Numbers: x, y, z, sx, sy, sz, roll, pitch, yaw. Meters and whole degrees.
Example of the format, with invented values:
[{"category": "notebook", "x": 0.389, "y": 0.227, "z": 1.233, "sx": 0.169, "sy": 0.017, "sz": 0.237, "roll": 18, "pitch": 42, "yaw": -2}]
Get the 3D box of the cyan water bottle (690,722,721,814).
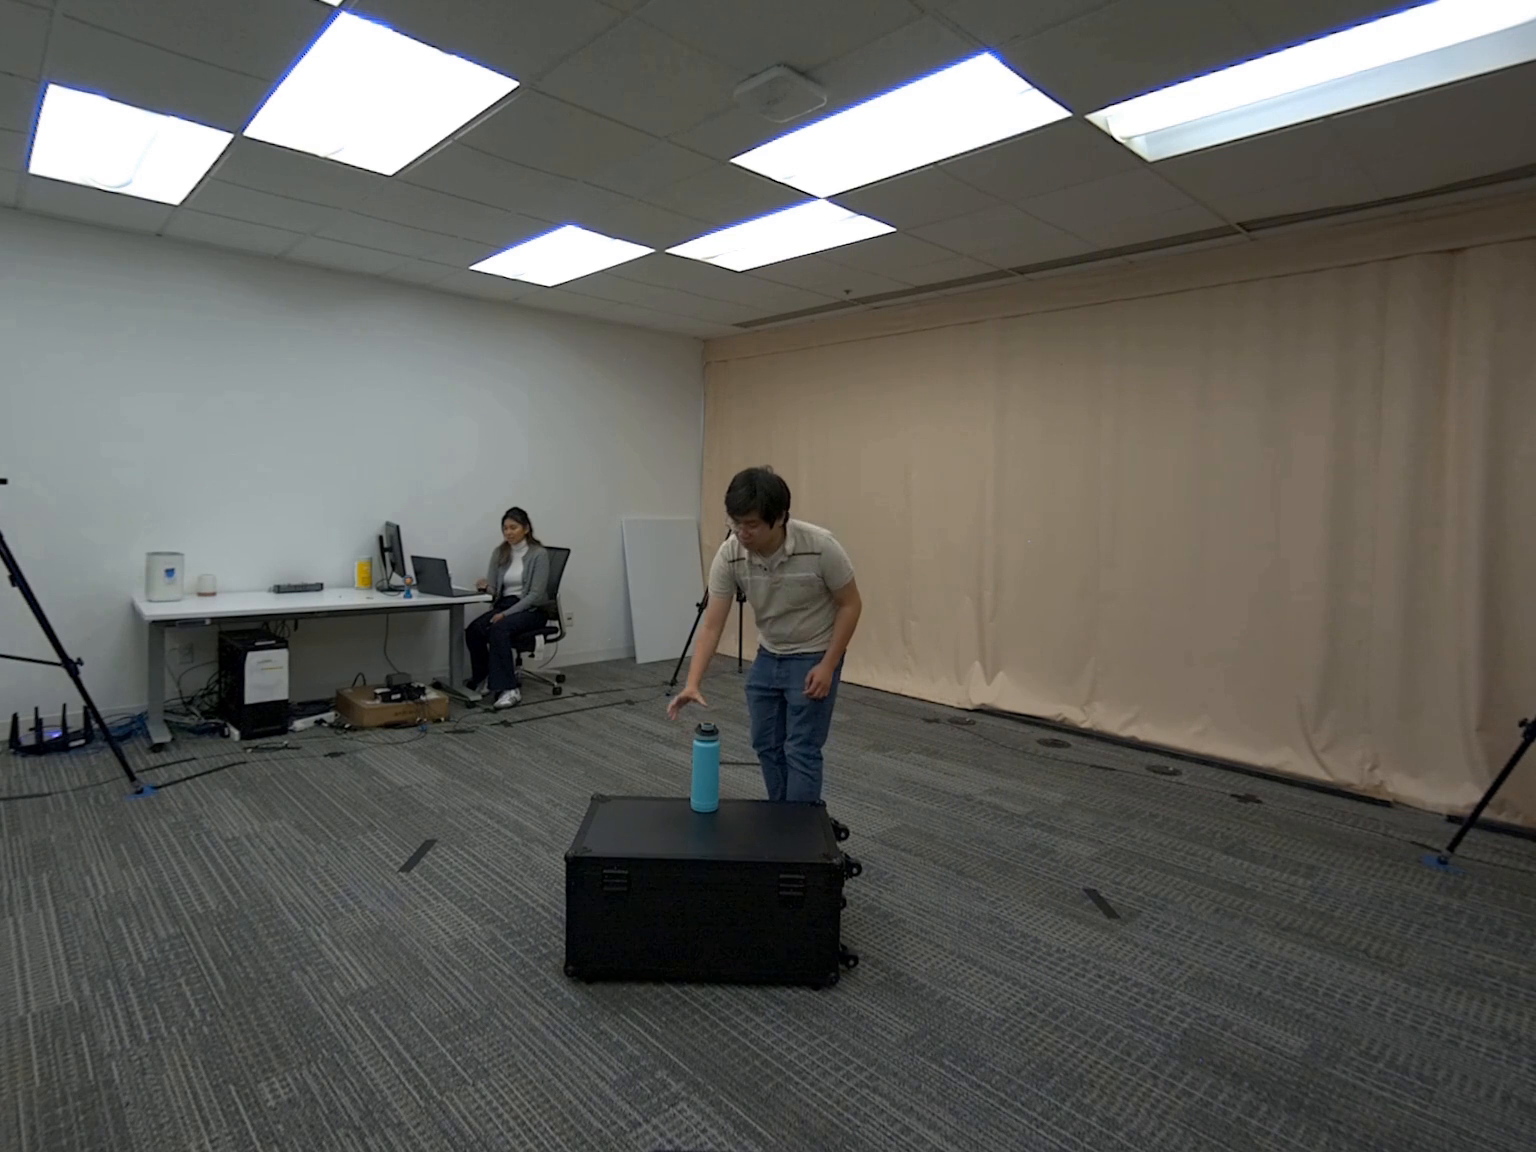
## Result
[{"category": "cyan water bottle", "x": -0.215, "y": 0.624, "z": 2.746, "sx": 0.092, "sy": 0.282, "sz": 0.092, "roll": 1, "pitch": 4, "yaw": -1}]
